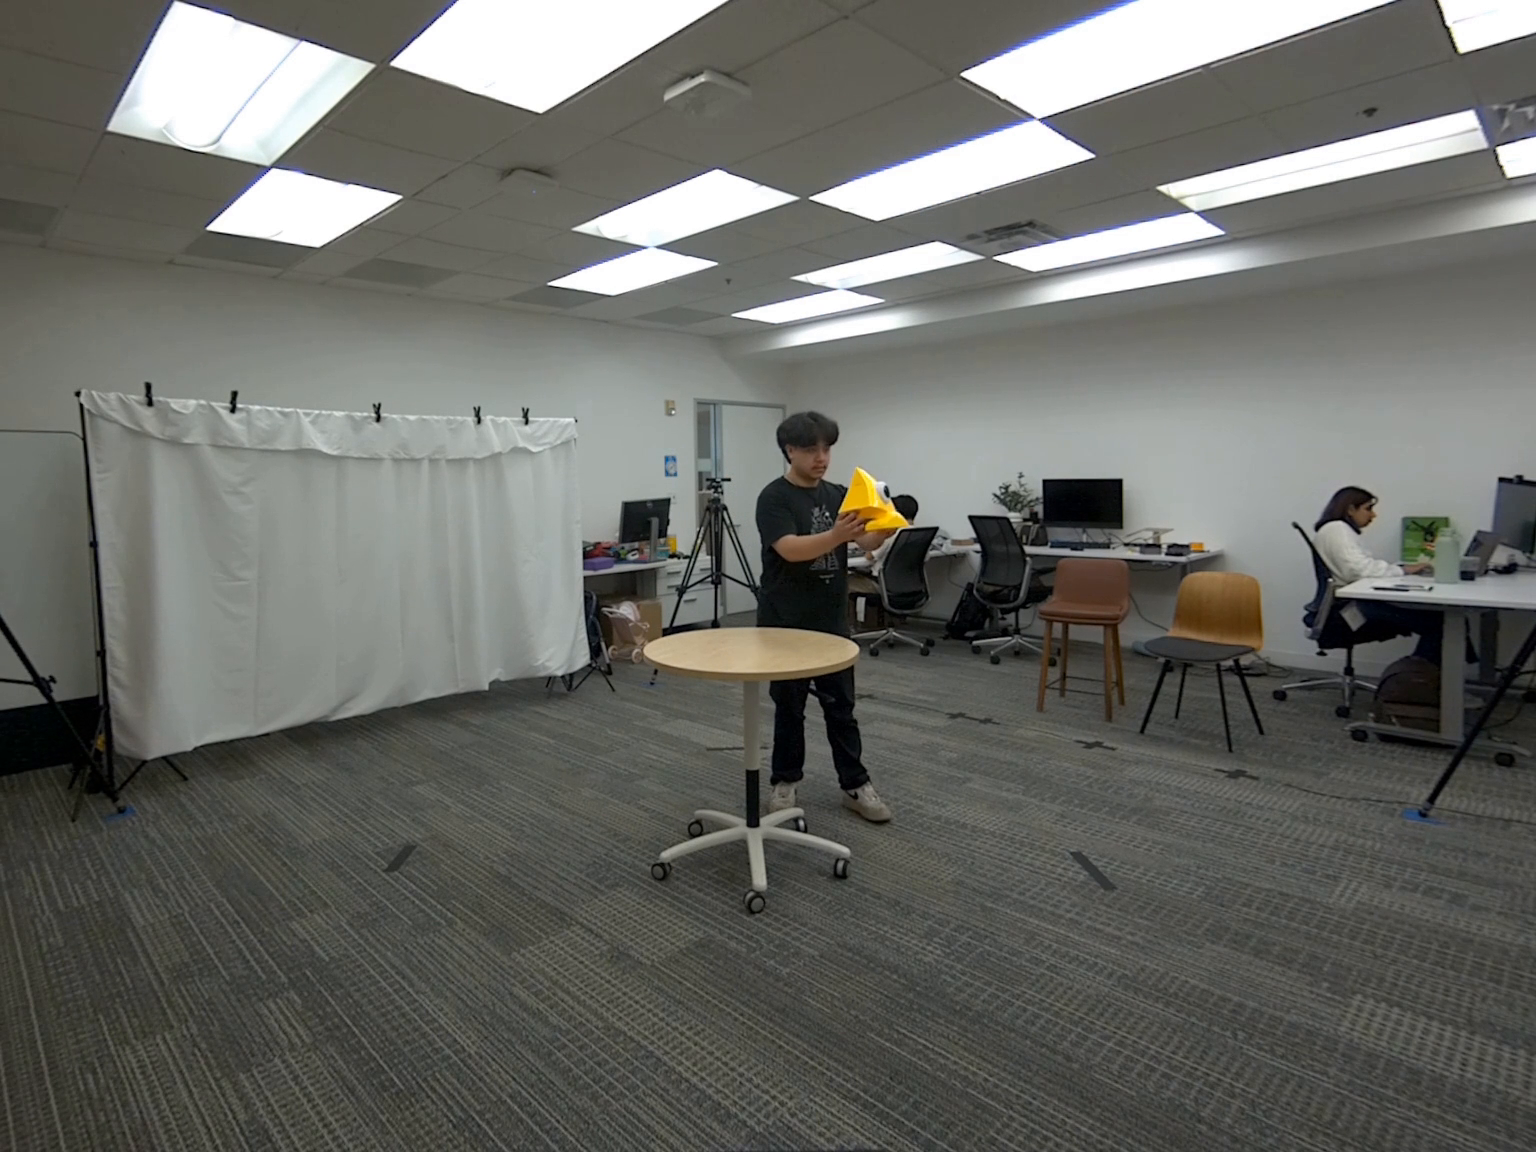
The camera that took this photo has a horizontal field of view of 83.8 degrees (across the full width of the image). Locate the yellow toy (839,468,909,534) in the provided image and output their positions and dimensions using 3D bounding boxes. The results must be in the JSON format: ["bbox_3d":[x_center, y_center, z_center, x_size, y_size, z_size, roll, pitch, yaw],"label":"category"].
[{"bbox_3d":[0.378,-0.278,3.072,0.189,0.231,0.209,-3,-2,-26],"label":"yellow toy"}]
